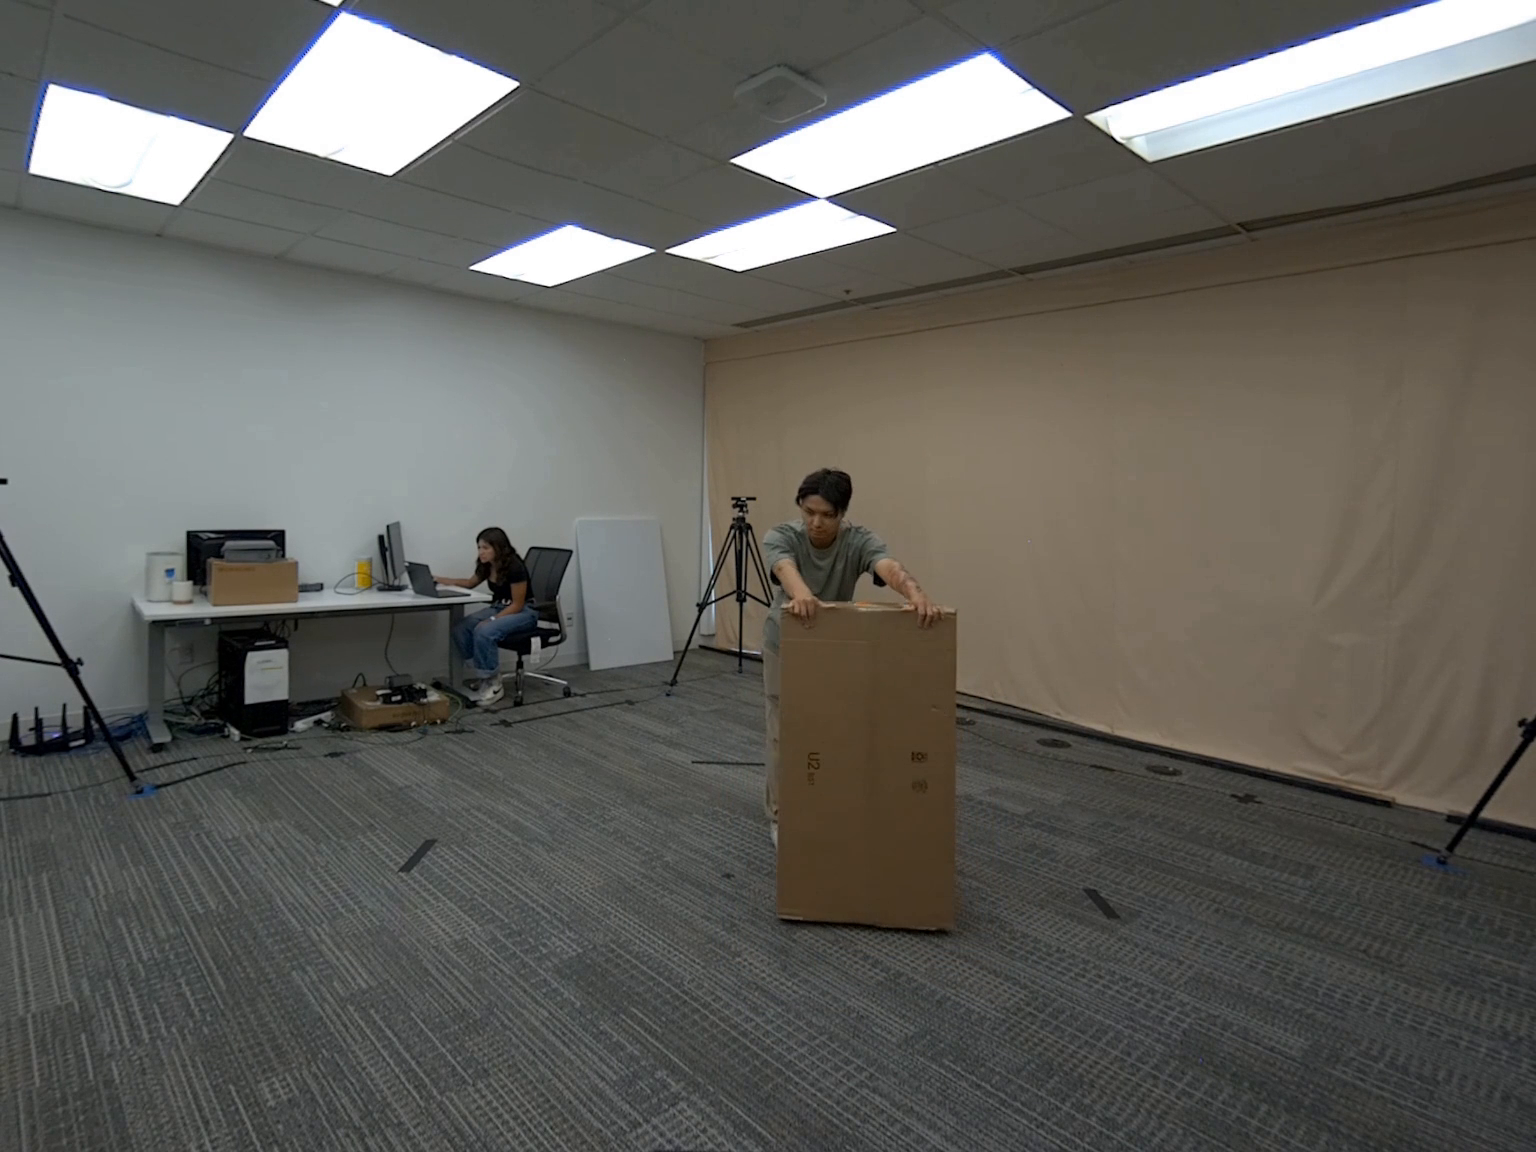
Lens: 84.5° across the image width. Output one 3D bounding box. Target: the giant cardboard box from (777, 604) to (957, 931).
[{"bbox_3d":[0.334,0.611,2.937,0.580,1.026,0.424,1,0,5],"label":"giant cardboard box"}]
